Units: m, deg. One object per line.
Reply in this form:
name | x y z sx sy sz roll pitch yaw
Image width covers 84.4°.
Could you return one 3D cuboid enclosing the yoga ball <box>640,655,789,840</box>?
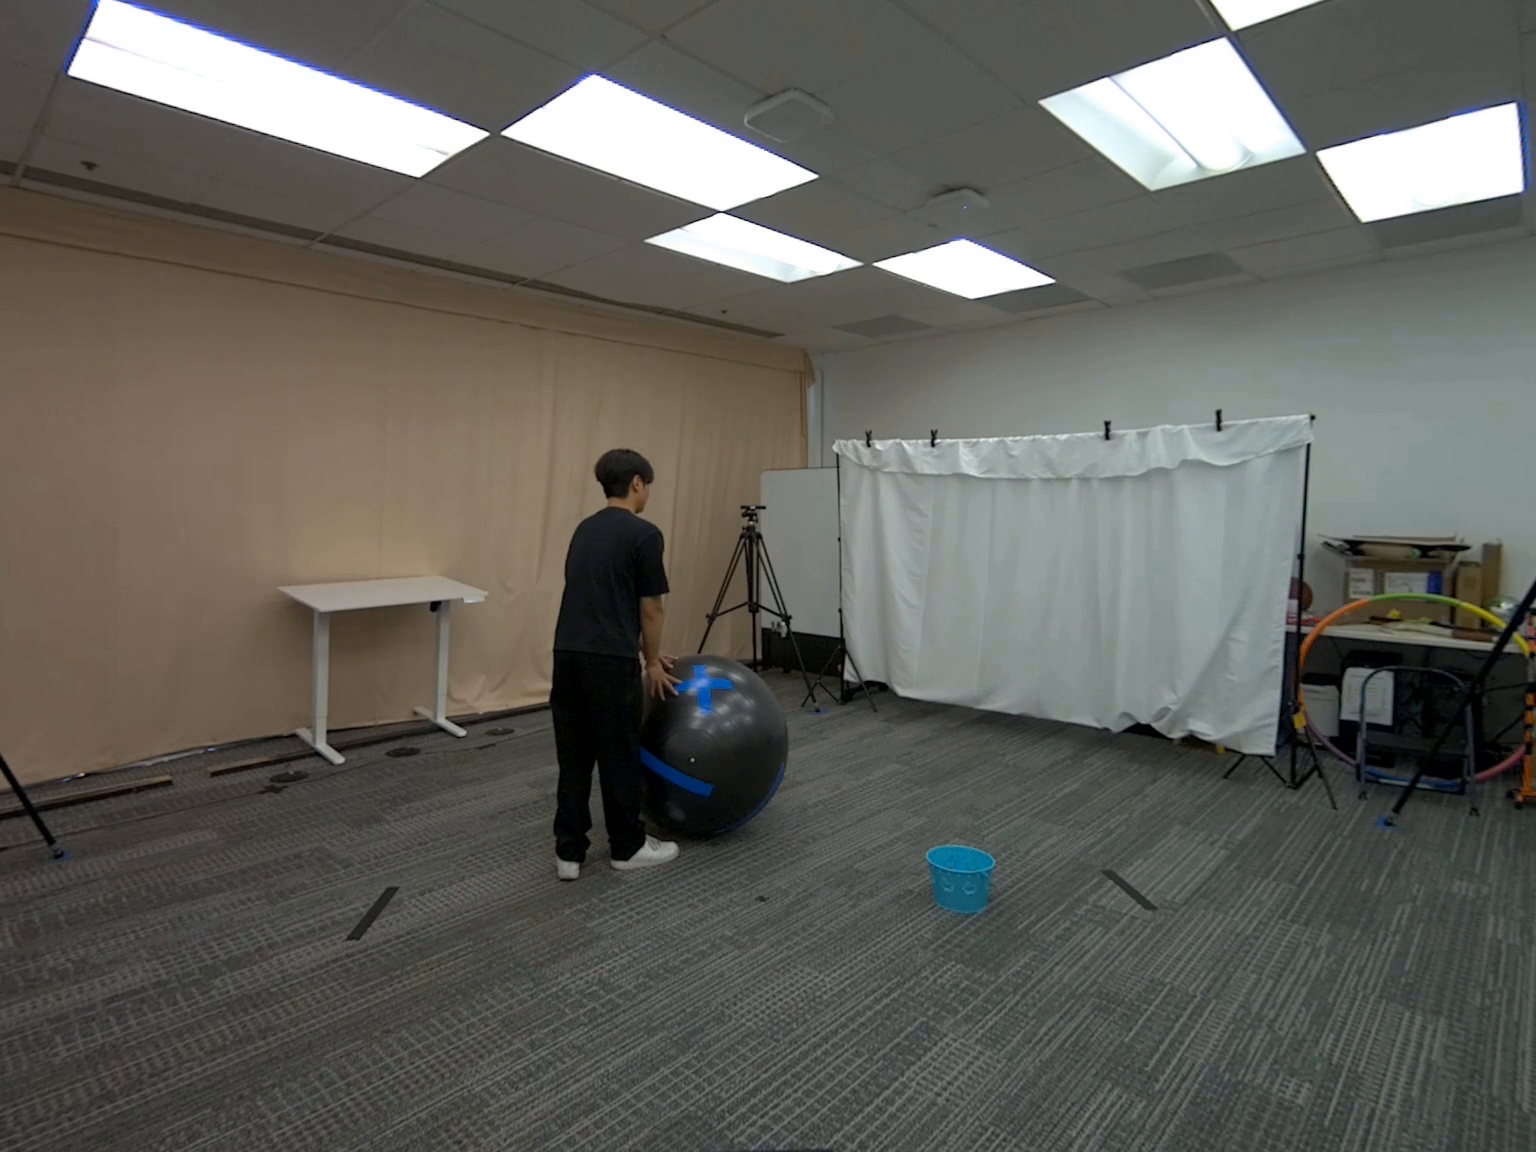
yoga ball | -0.288 0.725 3.644 0.757 0.756 0.760 0 4 -2
